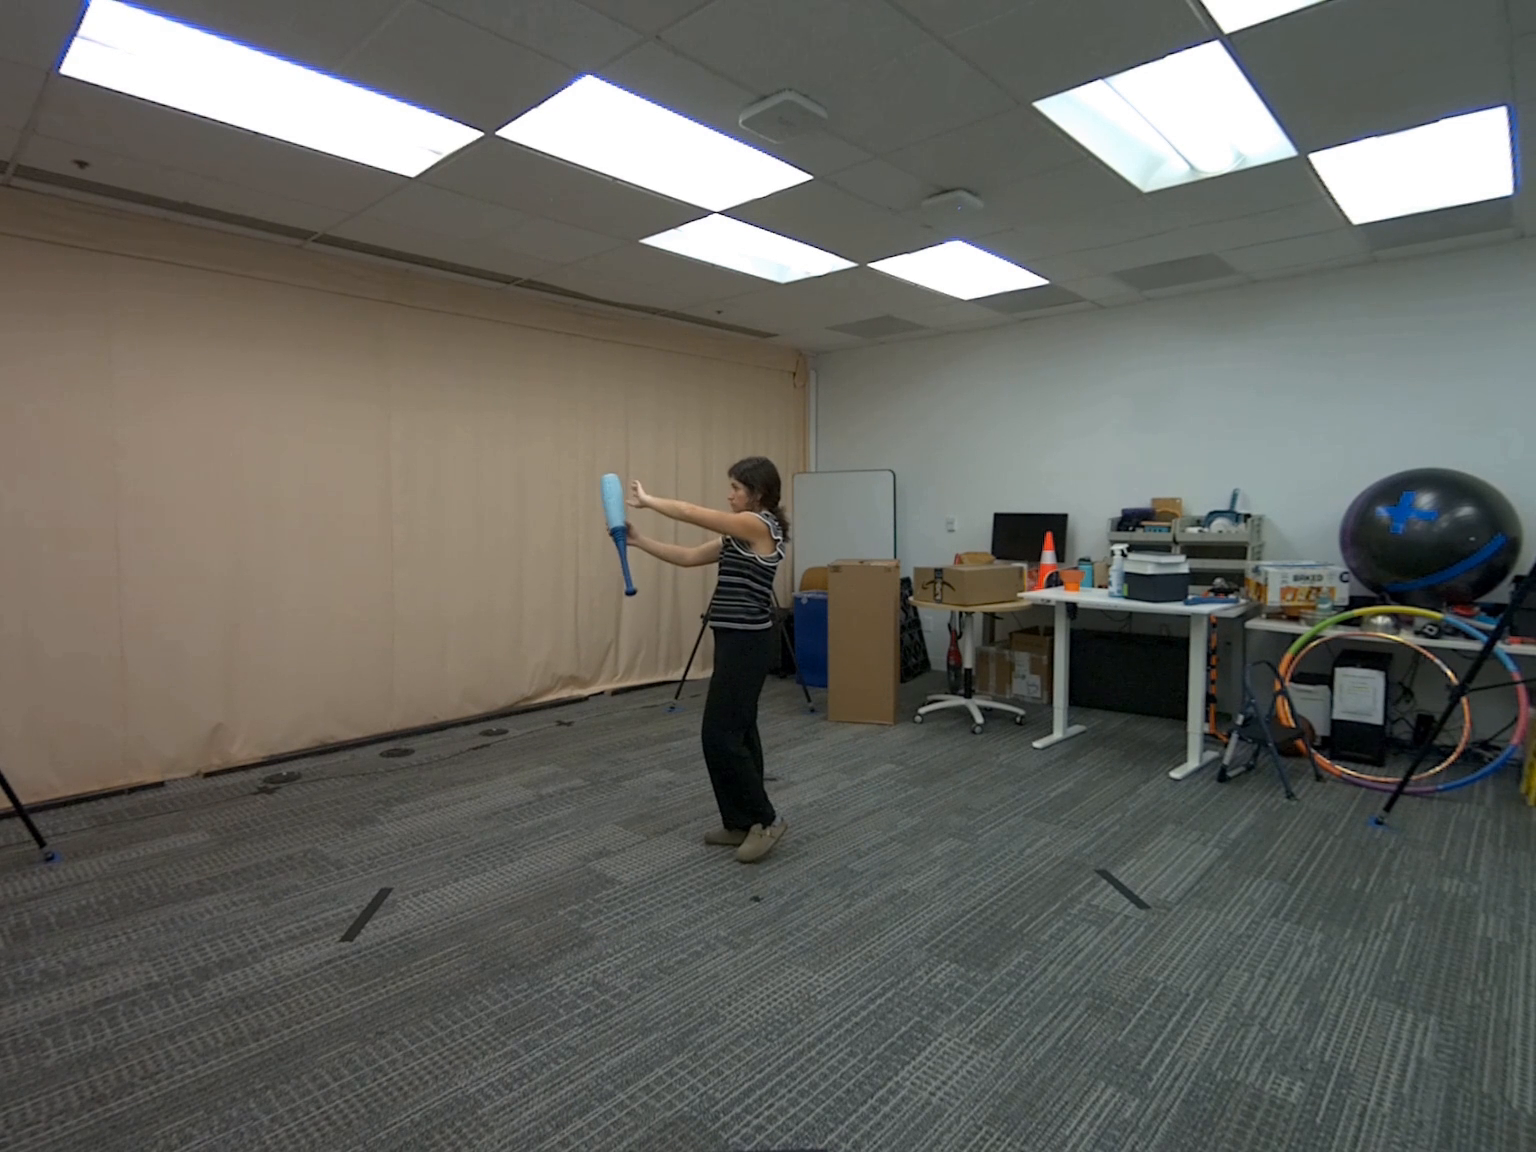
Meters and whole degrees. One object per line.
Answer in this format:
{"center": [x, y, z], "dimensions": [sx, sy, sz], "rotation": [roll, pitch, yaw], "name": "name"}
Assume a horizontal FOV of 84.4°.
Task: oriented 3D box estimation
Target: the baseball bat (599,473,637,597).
{"center": [-0.606, -0.170, 3.437], "dimensions": [0.088, 0.553, 0.088], "rotation": [-11, -24, -7], "name": "baseball bat"}
